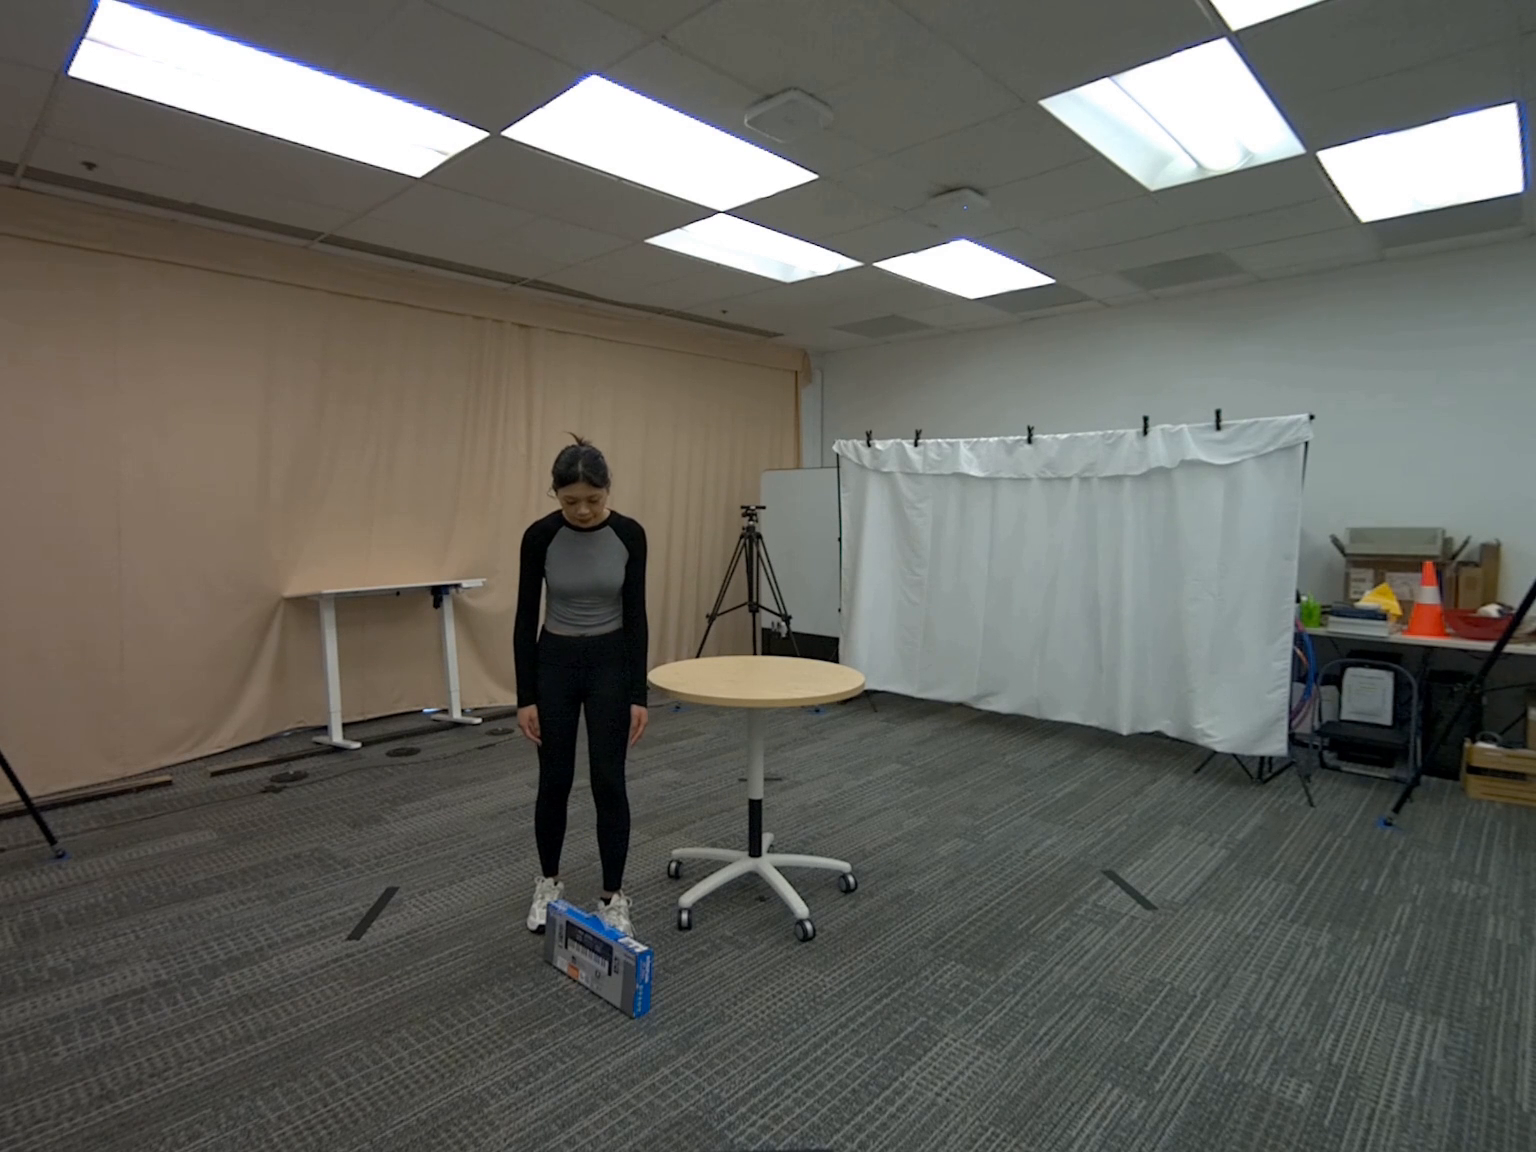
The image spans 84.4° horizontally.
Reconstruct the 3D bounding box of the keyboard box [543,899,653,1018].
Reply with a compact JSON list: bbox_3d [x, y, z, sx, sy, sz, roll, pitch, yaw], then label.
[{"bbox_3d":[-0.503,1.107,2.448,0.451,0.176,0.057,3,-2,43],"label":"keyboard box"}]
